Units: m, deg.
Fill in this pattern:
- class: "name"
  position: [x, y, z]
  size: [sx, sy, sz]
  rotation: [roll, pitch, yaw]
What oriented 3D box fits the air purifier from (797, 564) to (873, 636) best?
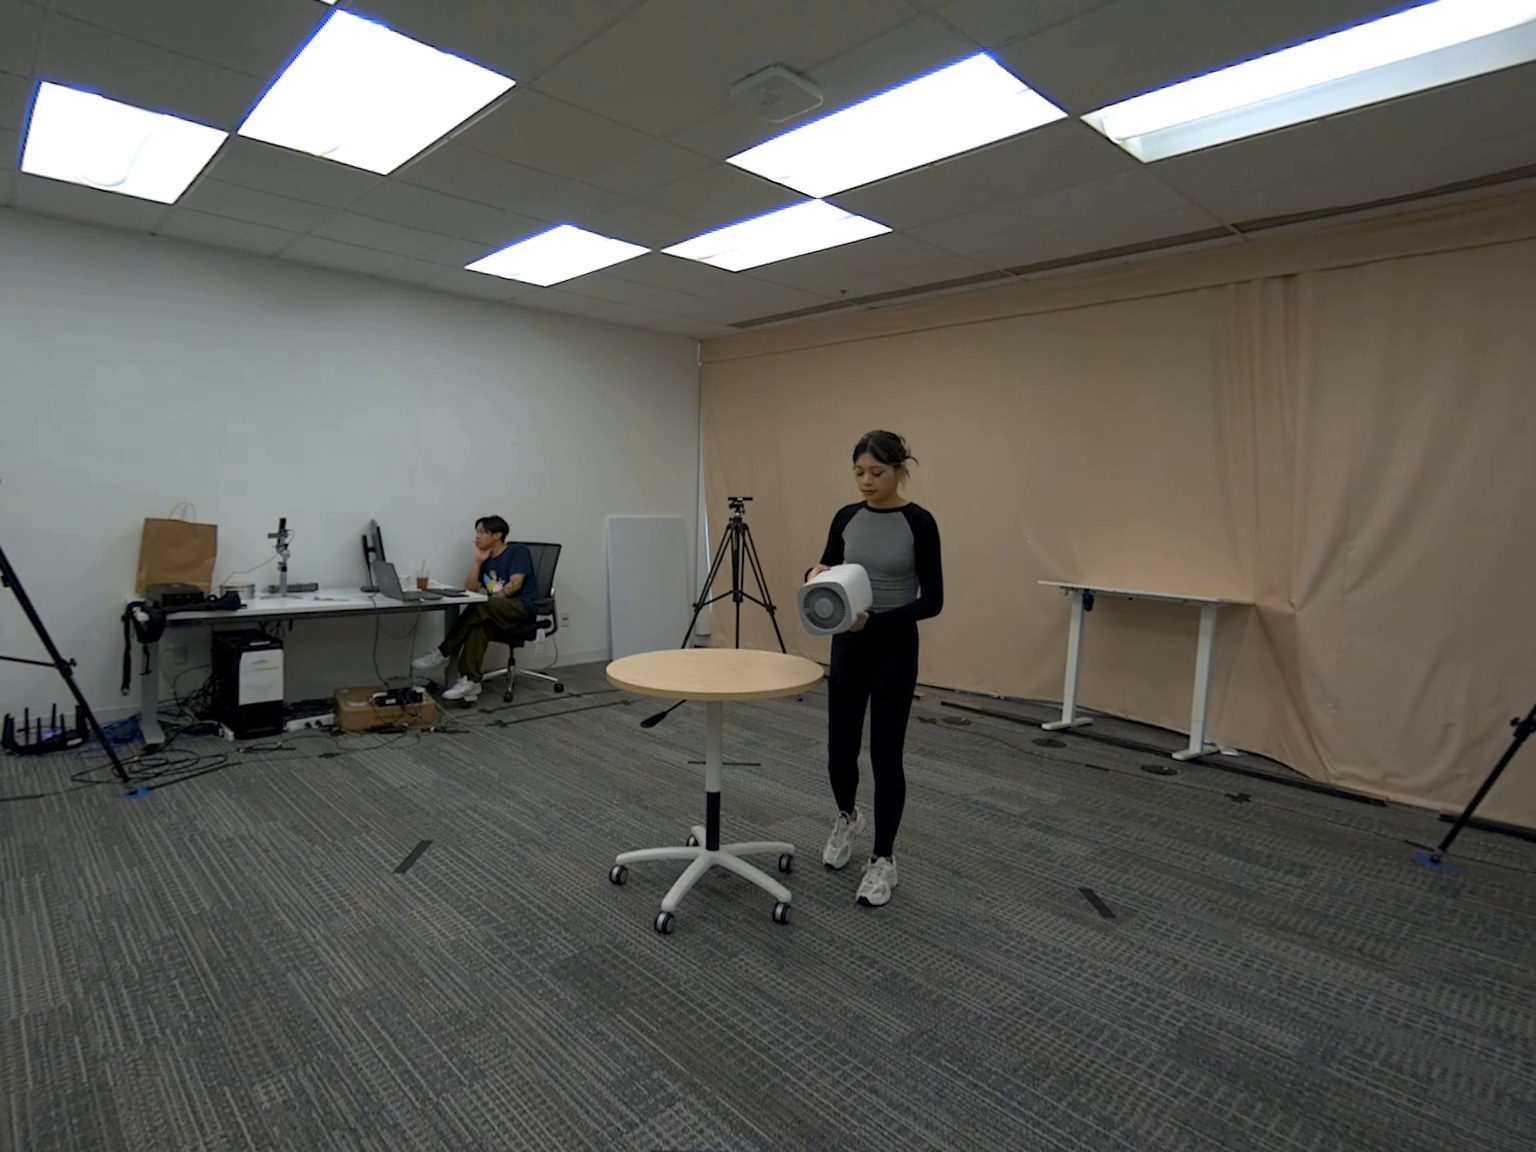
- class: "air purifier"
  position: [0.214, 0.073, 2.752]
  size: [0.174, 0.170, 0.263]
  rotation: [-9, 9, 25]
